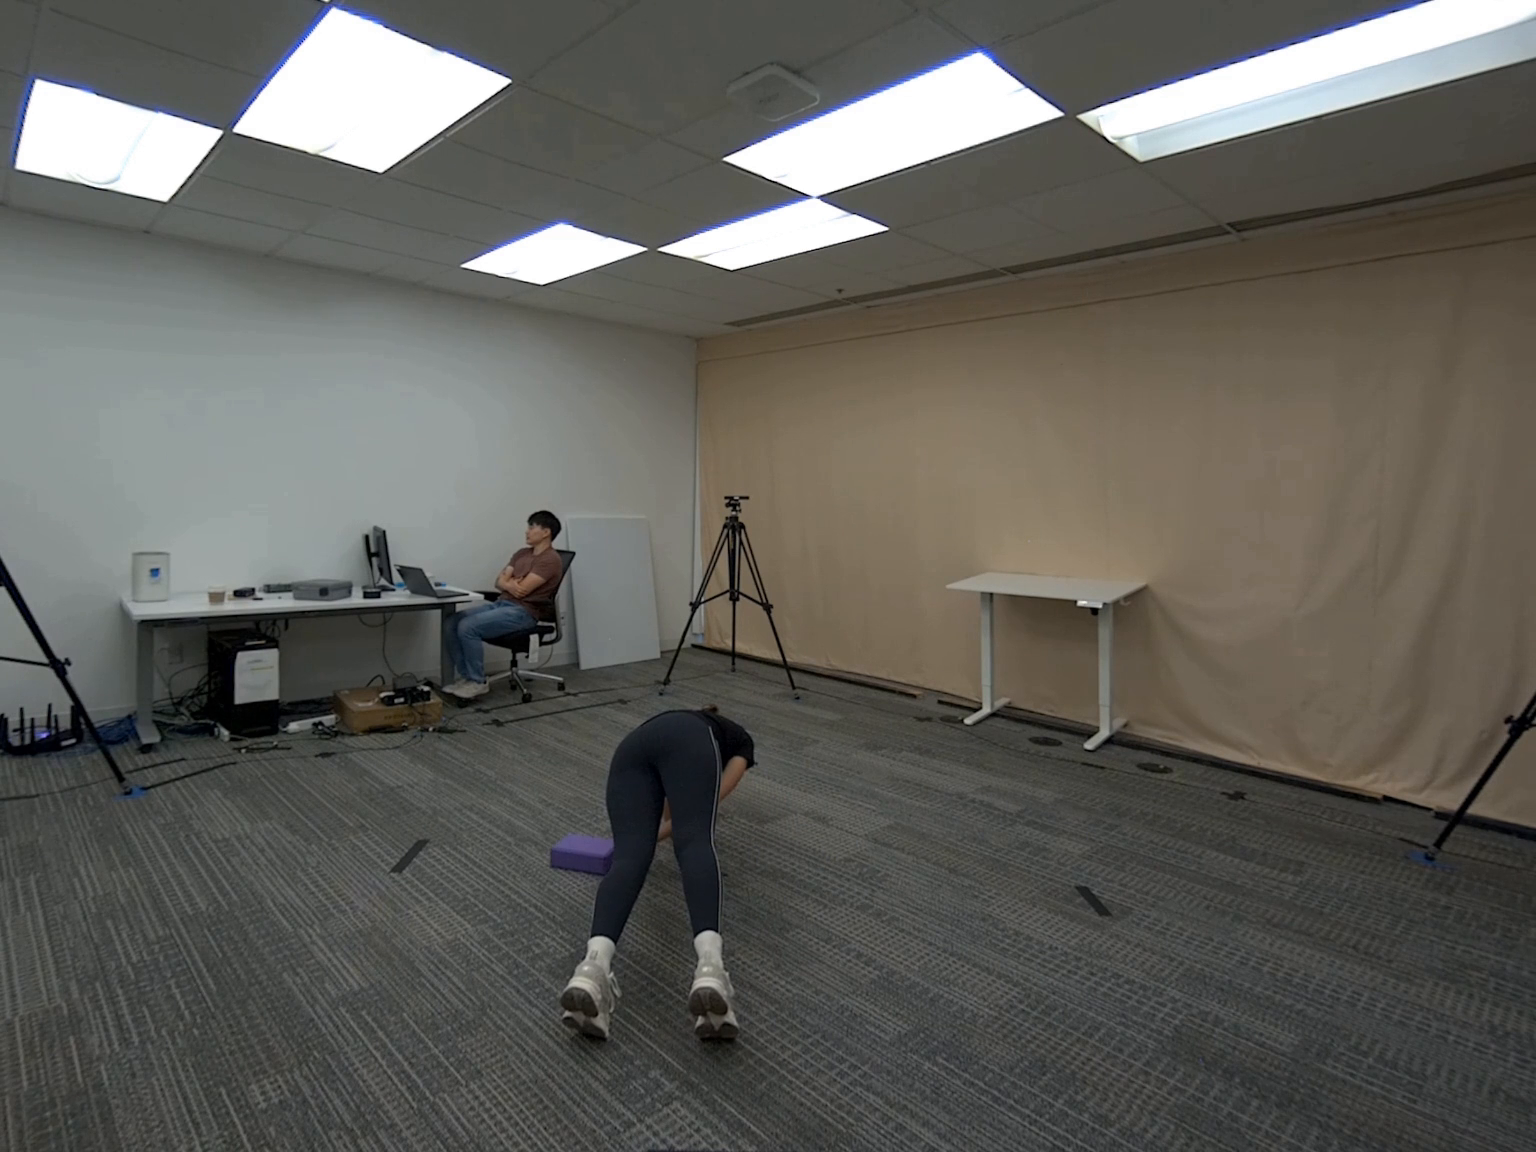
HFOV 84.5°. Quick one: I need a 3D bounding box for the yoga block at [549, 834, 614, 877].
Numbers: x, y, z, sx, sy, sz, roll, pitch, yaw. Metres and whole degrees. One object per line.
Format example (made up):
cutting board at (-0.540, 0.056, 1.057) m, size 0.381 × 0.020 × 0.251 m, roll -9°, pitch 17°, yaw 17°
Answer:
yoga block at (-0.679, 1.046, 3.167) m, size 0.232 × 0.076 × 0.147 m, roll 3°, pitch 6°, yaw 15°
